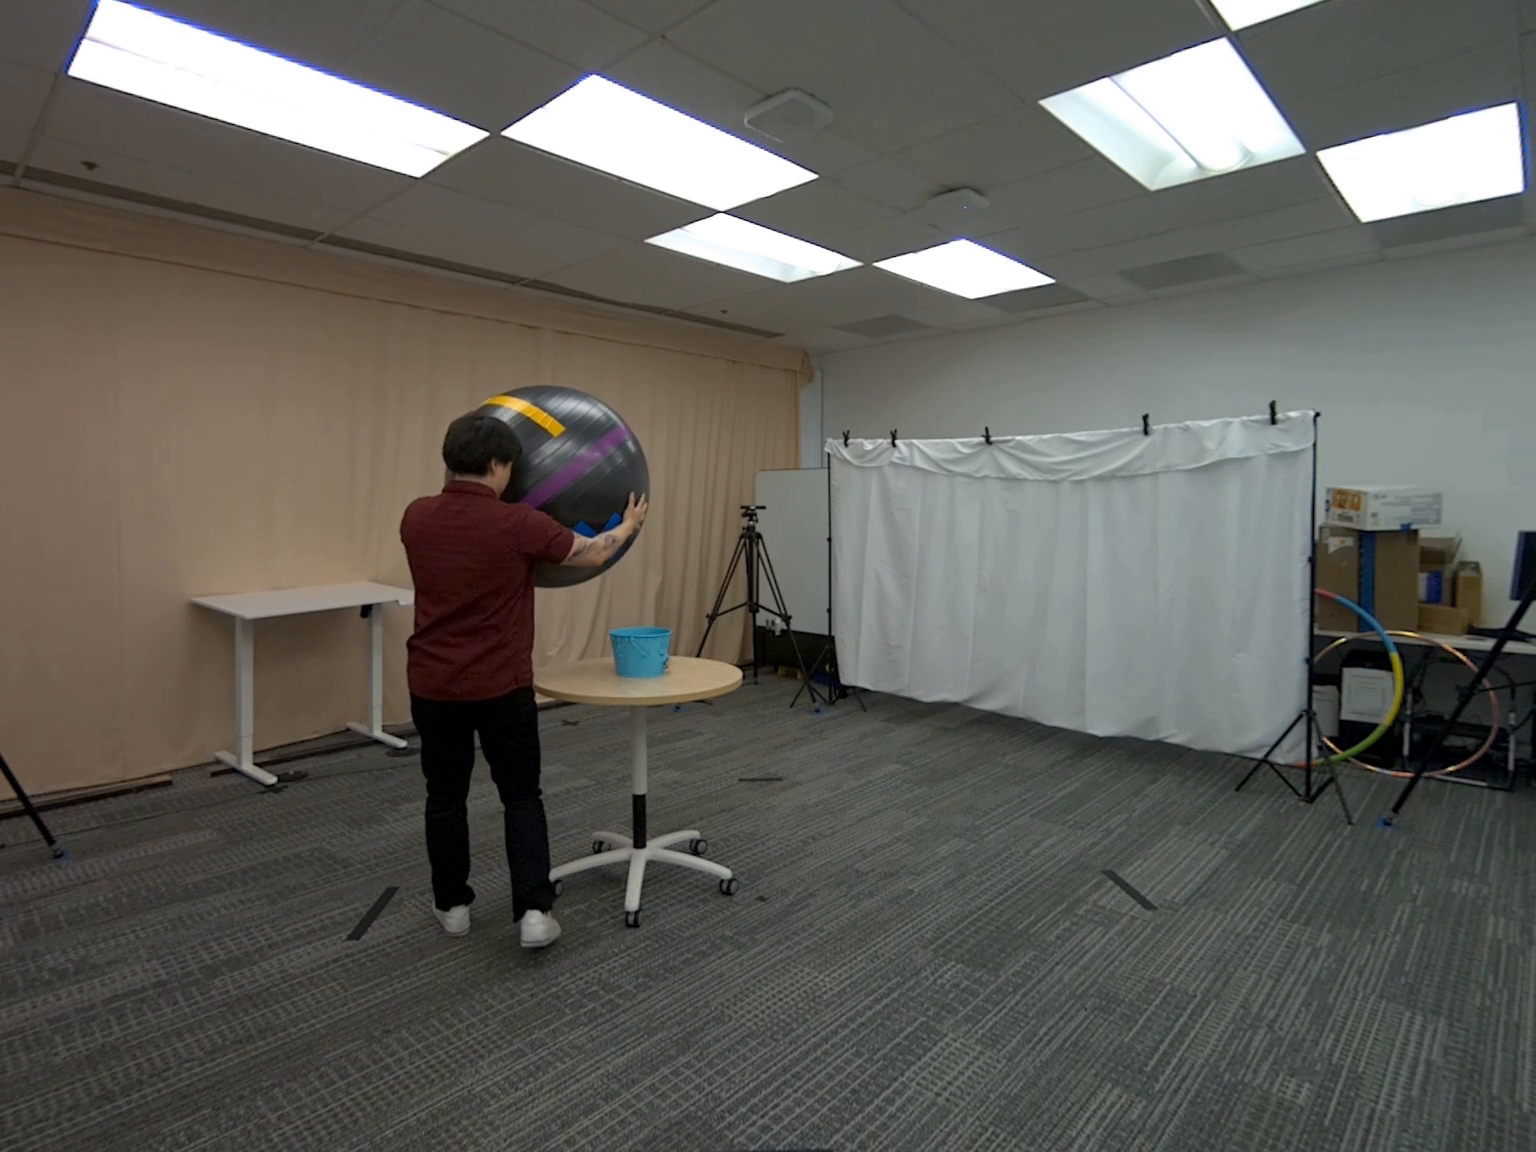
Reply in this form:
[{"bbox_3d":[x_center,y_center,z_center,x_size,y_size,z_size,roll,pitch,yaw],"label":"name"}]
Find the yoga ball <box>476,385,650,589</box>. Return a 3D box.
[{"bbox_3d":[-0.830,-0.325,3.168,0.757,0.756,0.761,0,4,-2],"label":"yoga ball"}]
